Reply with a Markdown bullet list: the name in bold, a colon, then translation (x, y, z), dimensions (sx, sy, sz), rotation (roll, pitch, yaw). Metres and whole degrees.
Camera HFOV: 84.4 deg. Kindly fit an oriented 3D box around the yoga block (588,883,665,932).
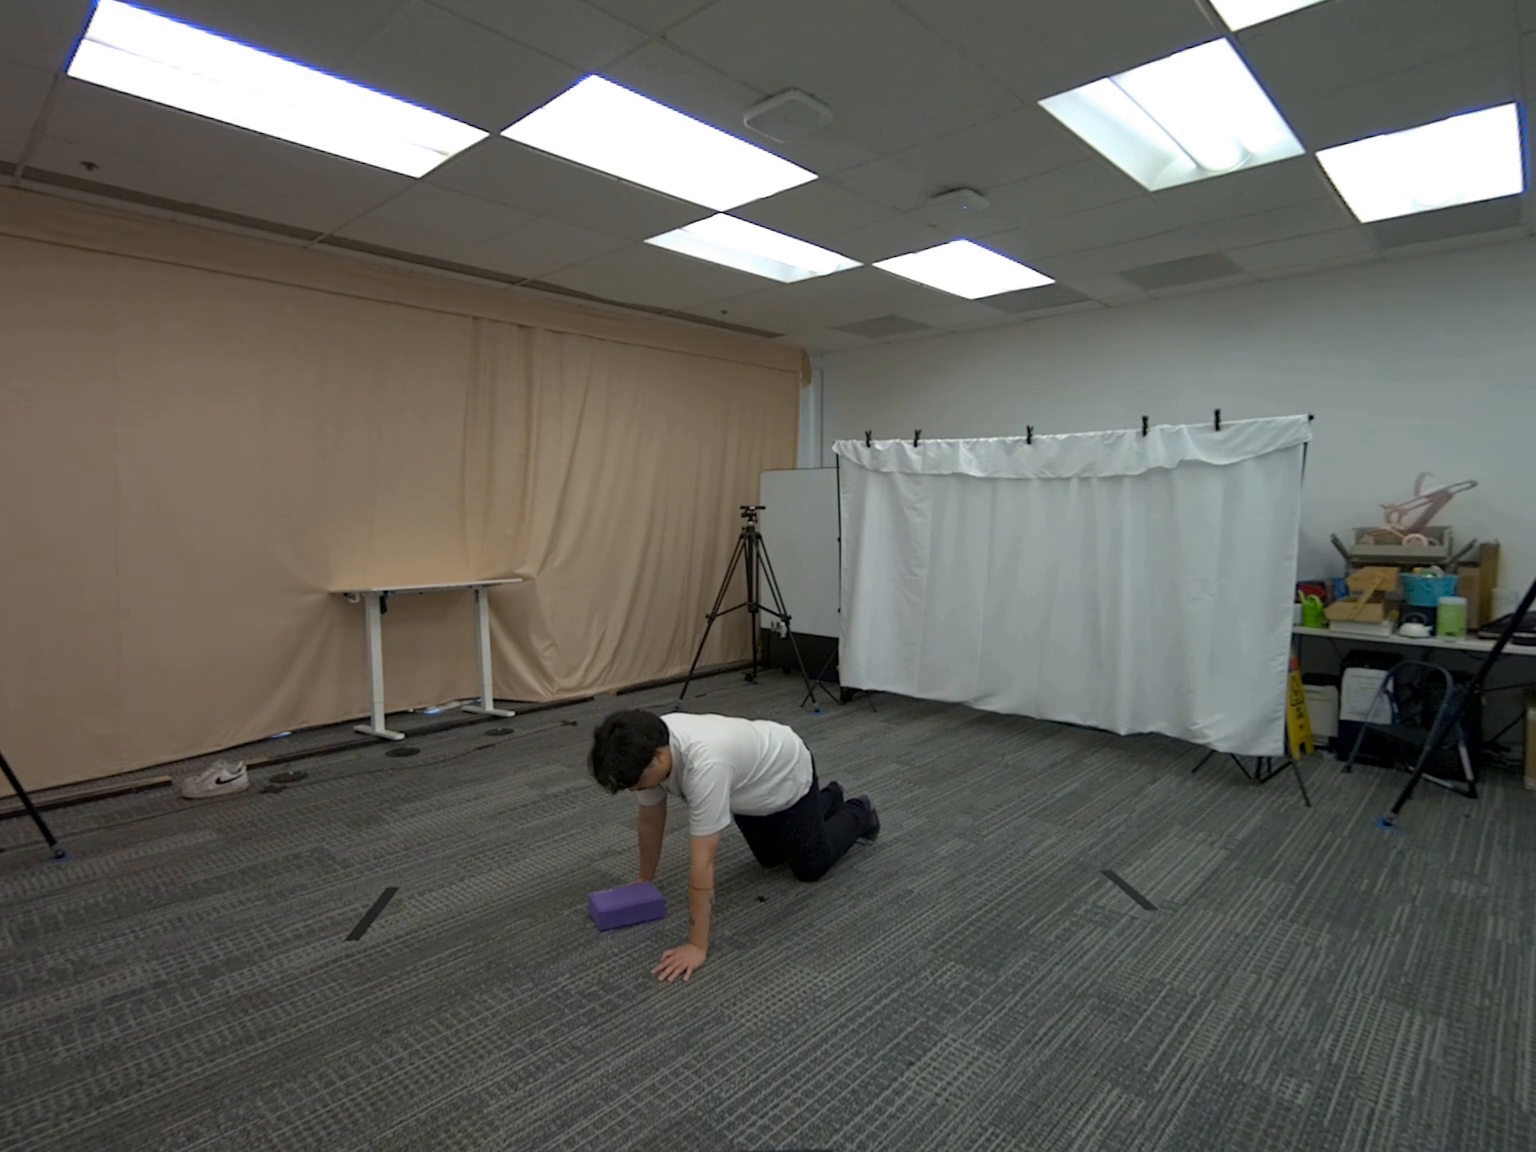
- **yoga block**: translation (-0.477, 1.117, 2.862), dimensions (0.224, 0.076, 0.153), rotation (-3, 5, -26)
